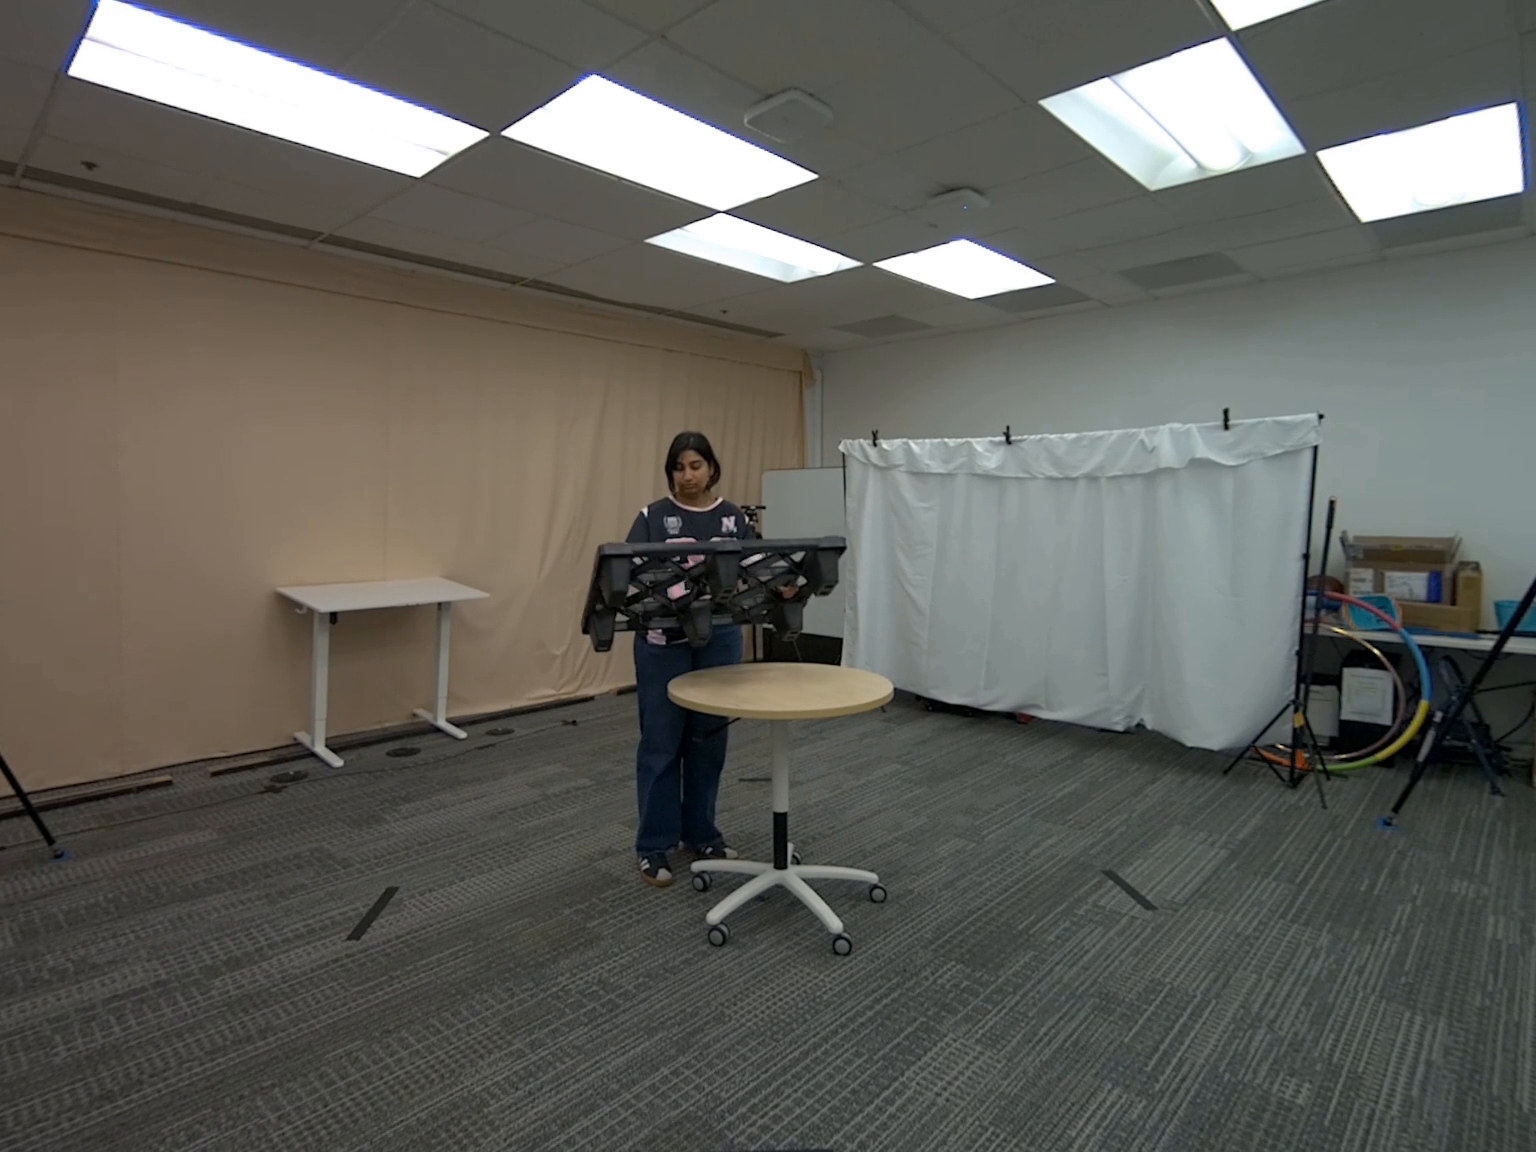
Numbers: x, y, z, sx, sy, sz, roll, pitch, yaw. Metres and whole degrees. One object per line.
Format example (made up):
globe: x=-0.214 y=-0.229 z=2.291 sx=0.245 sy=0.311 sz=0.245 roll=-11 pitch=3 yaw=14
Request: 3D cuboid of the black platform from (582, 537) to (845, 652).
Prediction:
black platform: x=-0.201 y=0.085 z=2.821 sx=0.792 sy=0.146 sz=0.604 roll=-2 pitch=-27 yaw=-17
